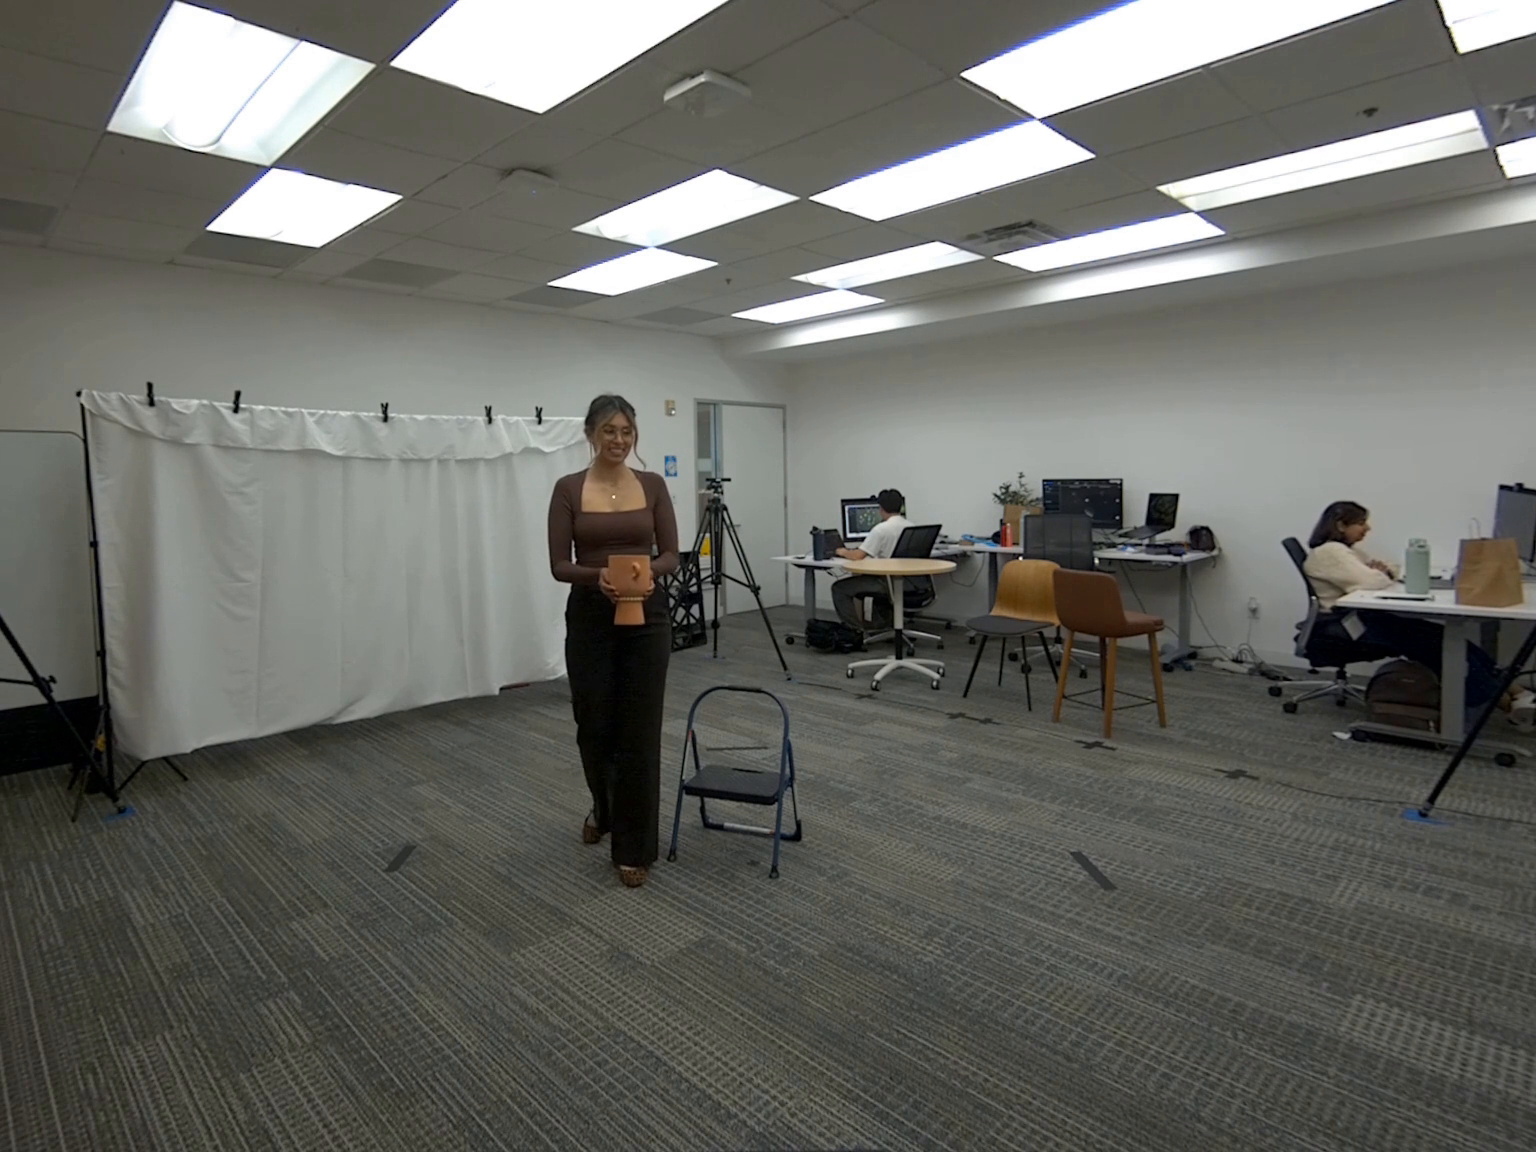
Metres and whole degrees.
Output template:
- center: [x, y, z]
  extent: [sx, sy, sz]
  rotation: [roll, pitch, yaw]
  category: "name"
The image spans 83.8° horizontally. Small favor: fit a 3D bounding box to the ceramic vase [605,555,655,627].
- center: [-0.449, 0.048, 2.765]
  extent: [0.136, 0.220, 0.156]
  rotation: [0, -1, 14]
  category: "ceramic vase"
